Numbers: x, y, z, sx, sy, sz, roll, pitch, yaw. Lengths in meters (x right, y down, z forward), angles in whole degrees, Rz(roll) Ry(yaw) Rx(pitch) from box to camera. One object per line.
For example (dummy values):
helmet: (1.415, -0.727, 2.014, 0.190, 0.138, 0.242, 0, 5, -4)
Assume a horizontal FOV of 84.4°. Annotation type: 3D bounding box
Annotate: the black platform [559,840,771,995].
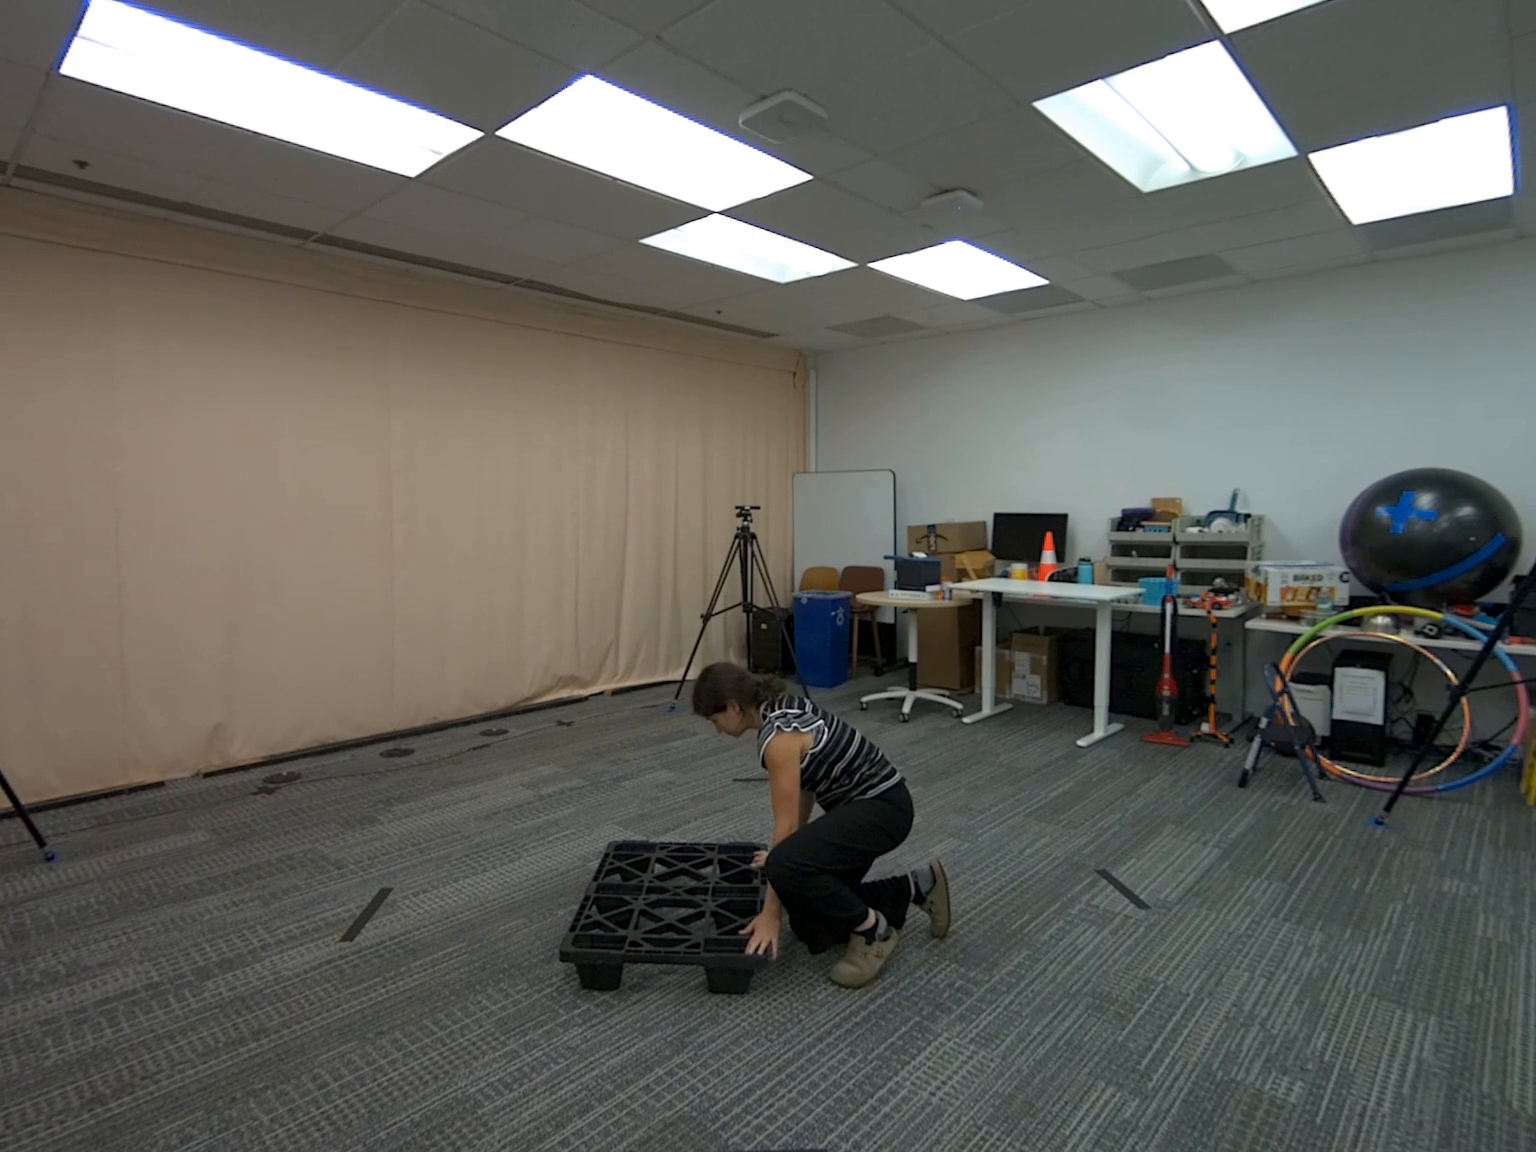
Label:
black platform: (-0.295, 1.095, 2.776, 0.607, 0.143, 0.805, 0, 5, 2)
